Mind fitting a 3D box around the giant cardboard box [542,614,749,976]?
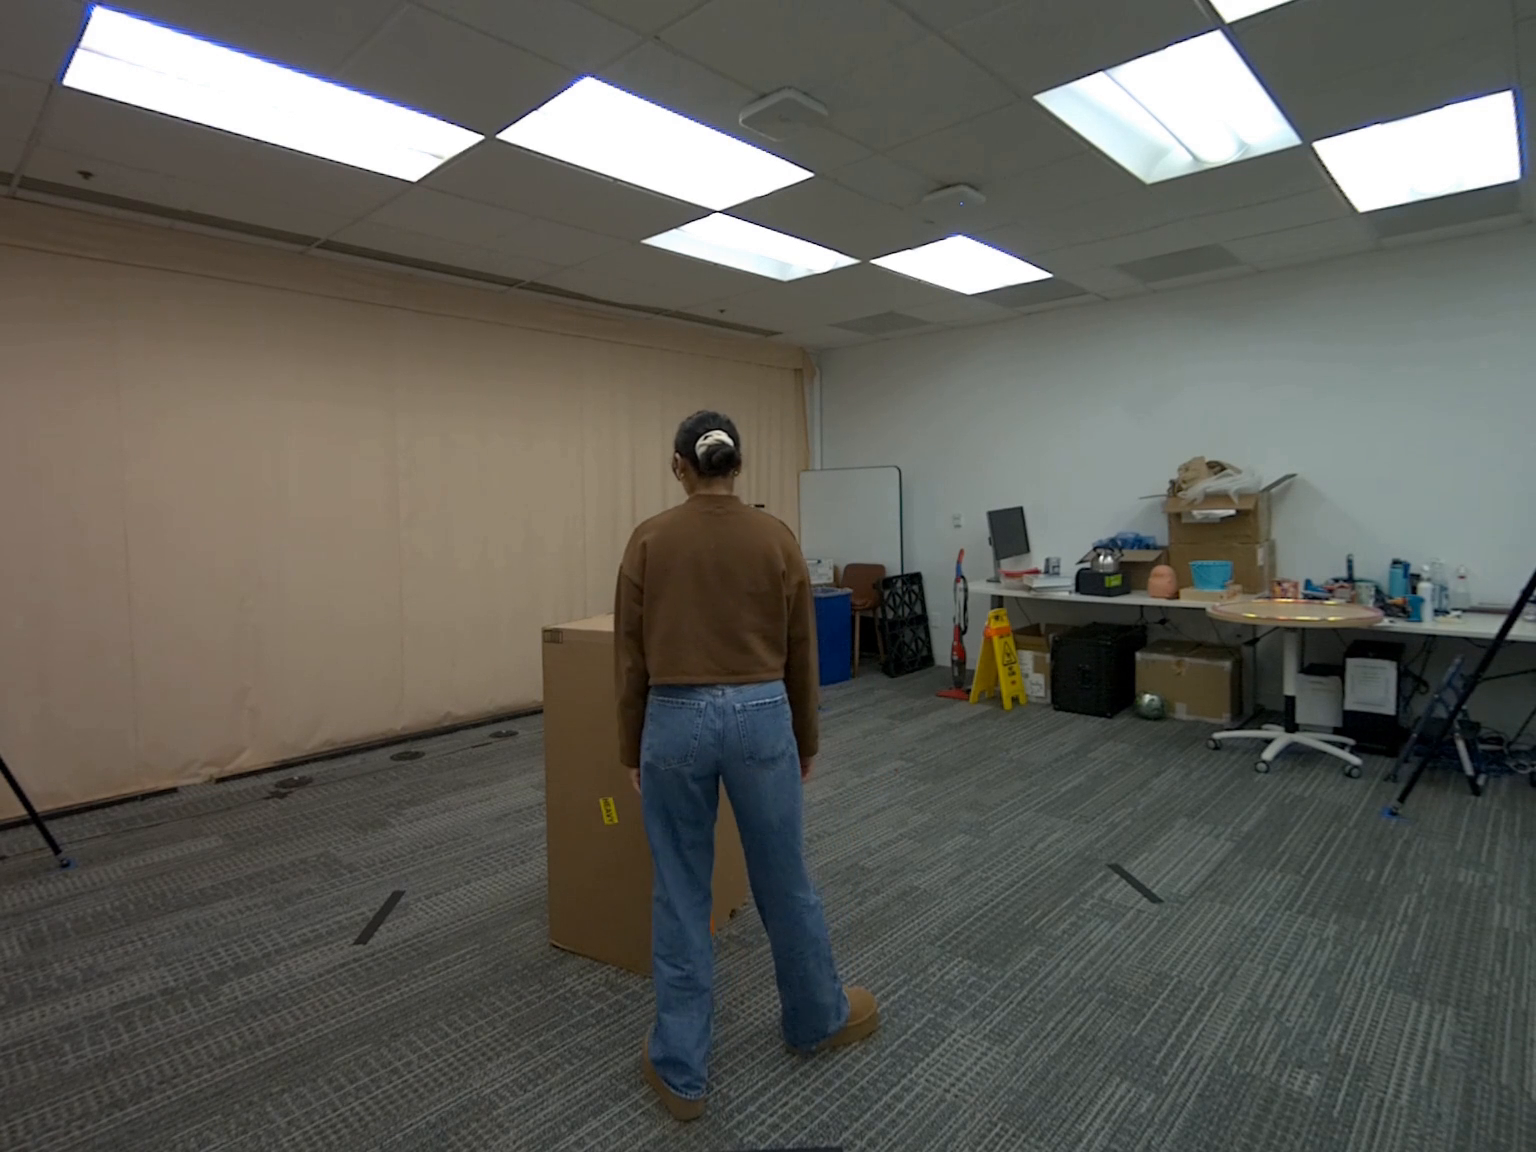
[{"bbox_3d":[-0.392,0.655,2.803,0.438,1.024,0.562,1,3,28],"label":"giant cardboard box"}]
